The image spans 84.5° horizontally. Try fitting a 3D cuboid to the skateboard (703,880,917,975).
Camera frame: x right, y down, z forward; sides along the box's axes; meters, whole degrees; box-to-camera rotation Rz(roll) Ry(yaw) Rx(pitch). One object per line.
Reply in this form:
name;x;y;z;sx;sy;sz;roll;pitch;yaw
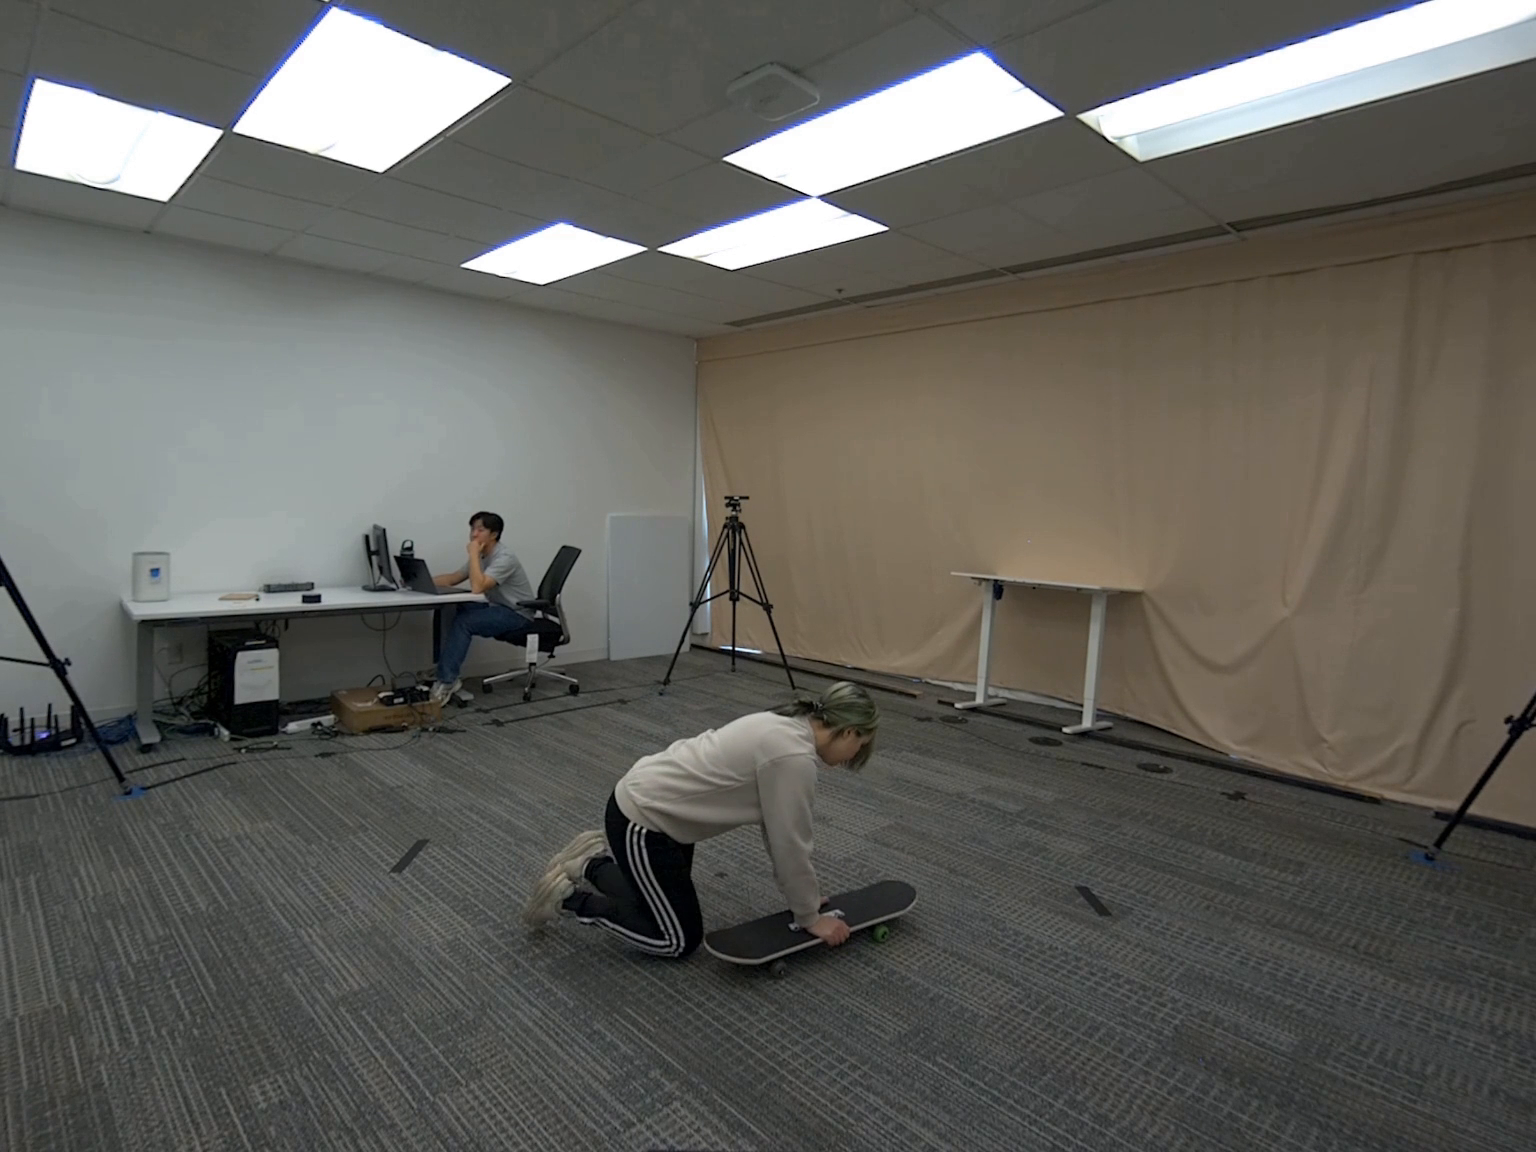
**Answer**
skateboard;0.148;1.096;2.618;0.769;0.110;0.198;-2;6;-33
